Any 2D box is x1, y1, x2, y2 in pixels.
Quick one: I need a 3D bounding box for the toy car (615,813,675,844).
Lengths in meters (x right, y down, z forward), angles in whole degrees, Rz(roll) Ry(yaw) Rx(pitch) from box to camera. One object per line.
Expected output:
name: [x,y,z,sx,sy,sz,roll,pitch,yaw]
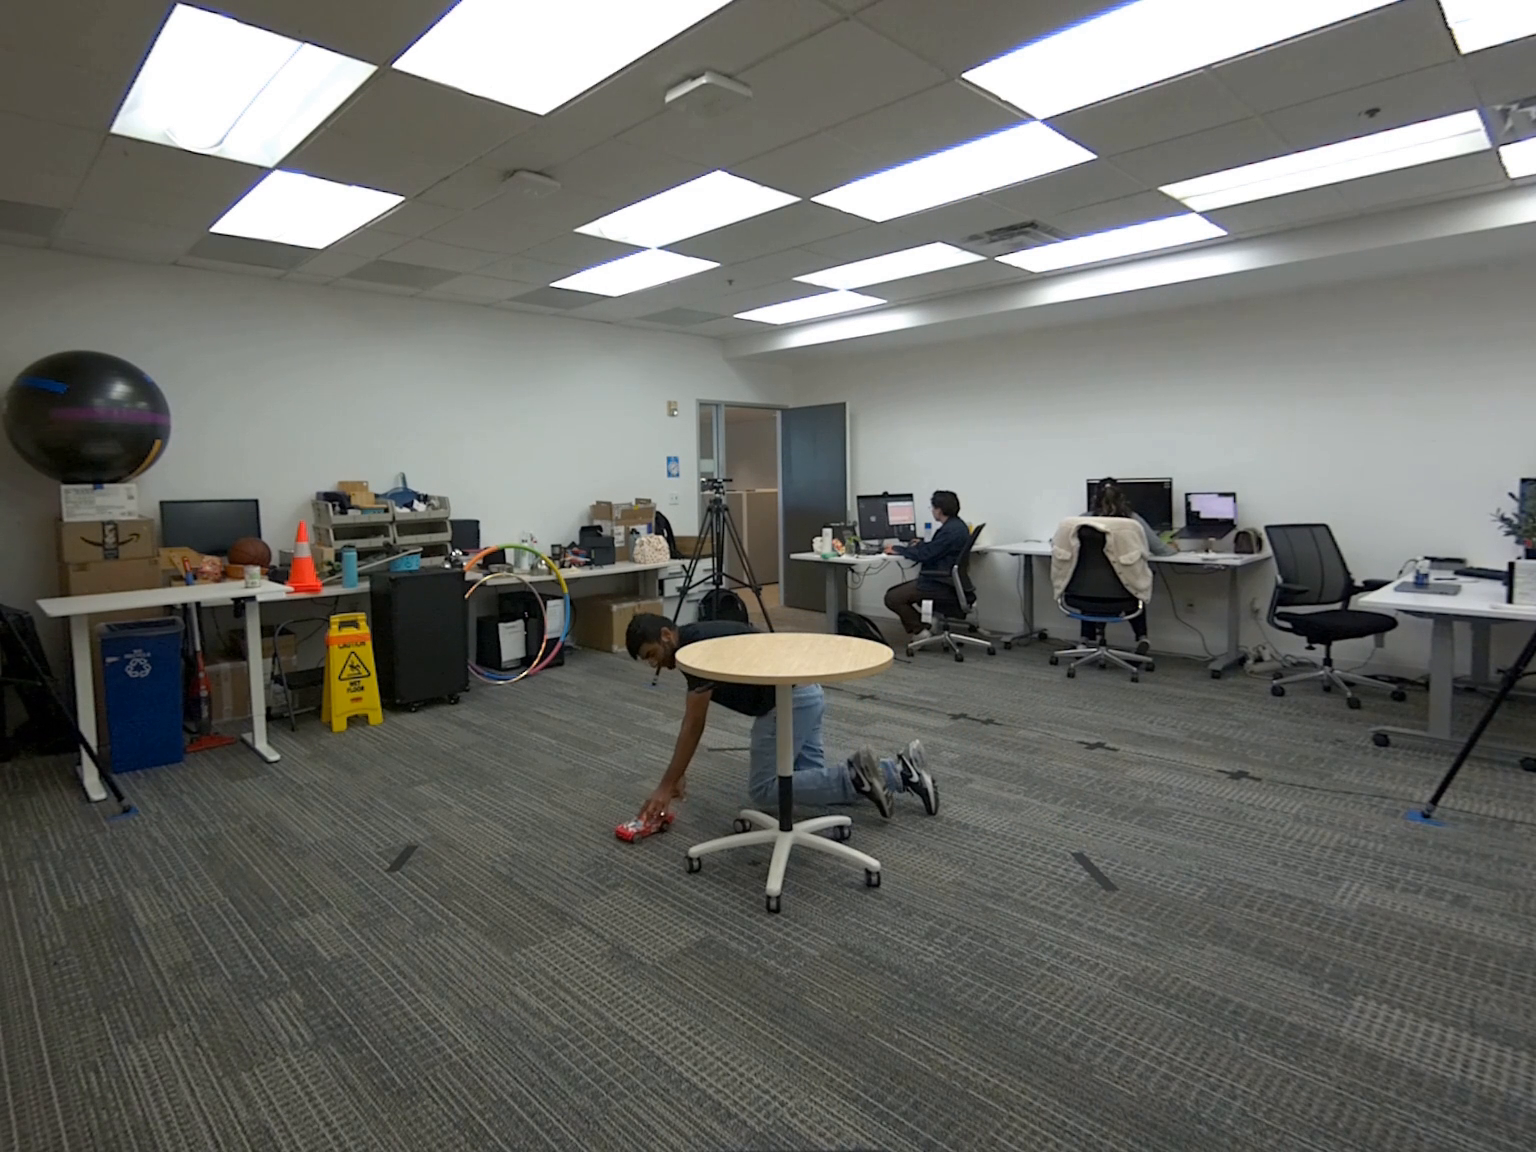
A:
toy car: [-0.485,0.983,3.386,0.134,0.082,0.250,1,15,43]
